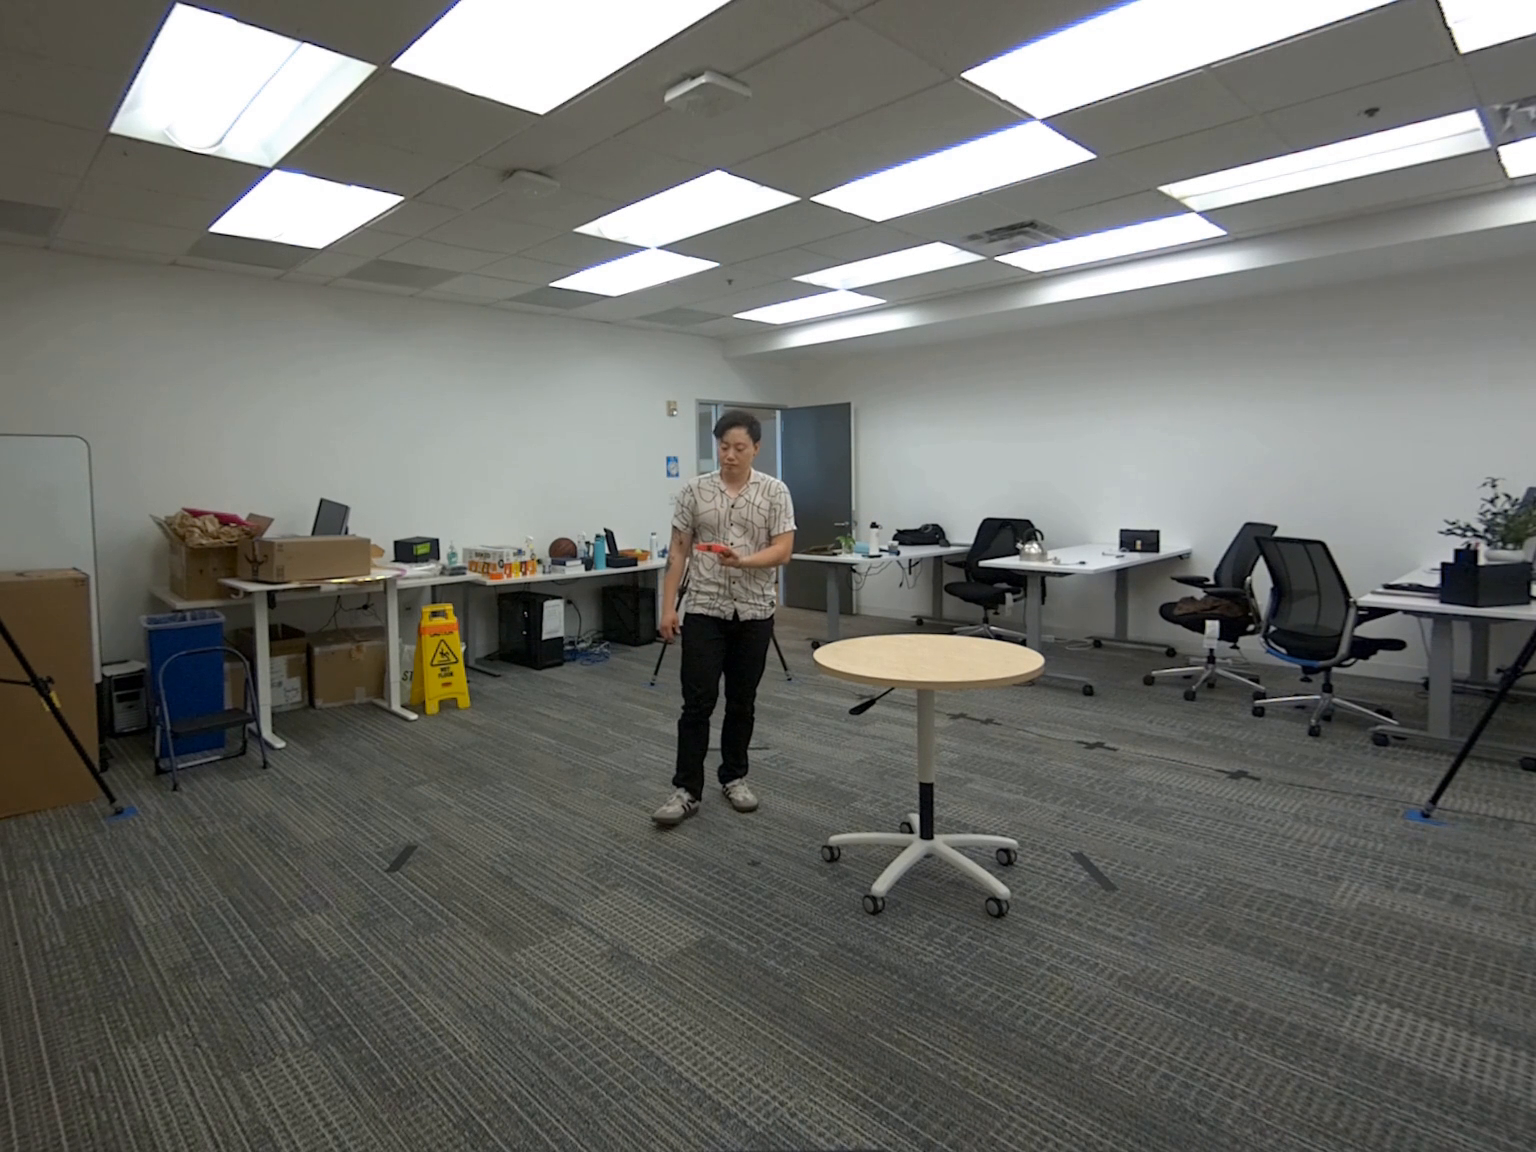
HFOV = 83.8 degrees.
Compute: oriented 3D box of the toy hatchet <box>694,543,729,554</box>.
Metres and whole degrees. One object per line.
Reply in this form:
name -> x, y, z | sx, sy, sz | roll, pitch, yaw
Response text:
toy hatchet -> -0.217, -0.097, 3.311 | 0.131, 0.030, 0.268 | 4, -4, 1
